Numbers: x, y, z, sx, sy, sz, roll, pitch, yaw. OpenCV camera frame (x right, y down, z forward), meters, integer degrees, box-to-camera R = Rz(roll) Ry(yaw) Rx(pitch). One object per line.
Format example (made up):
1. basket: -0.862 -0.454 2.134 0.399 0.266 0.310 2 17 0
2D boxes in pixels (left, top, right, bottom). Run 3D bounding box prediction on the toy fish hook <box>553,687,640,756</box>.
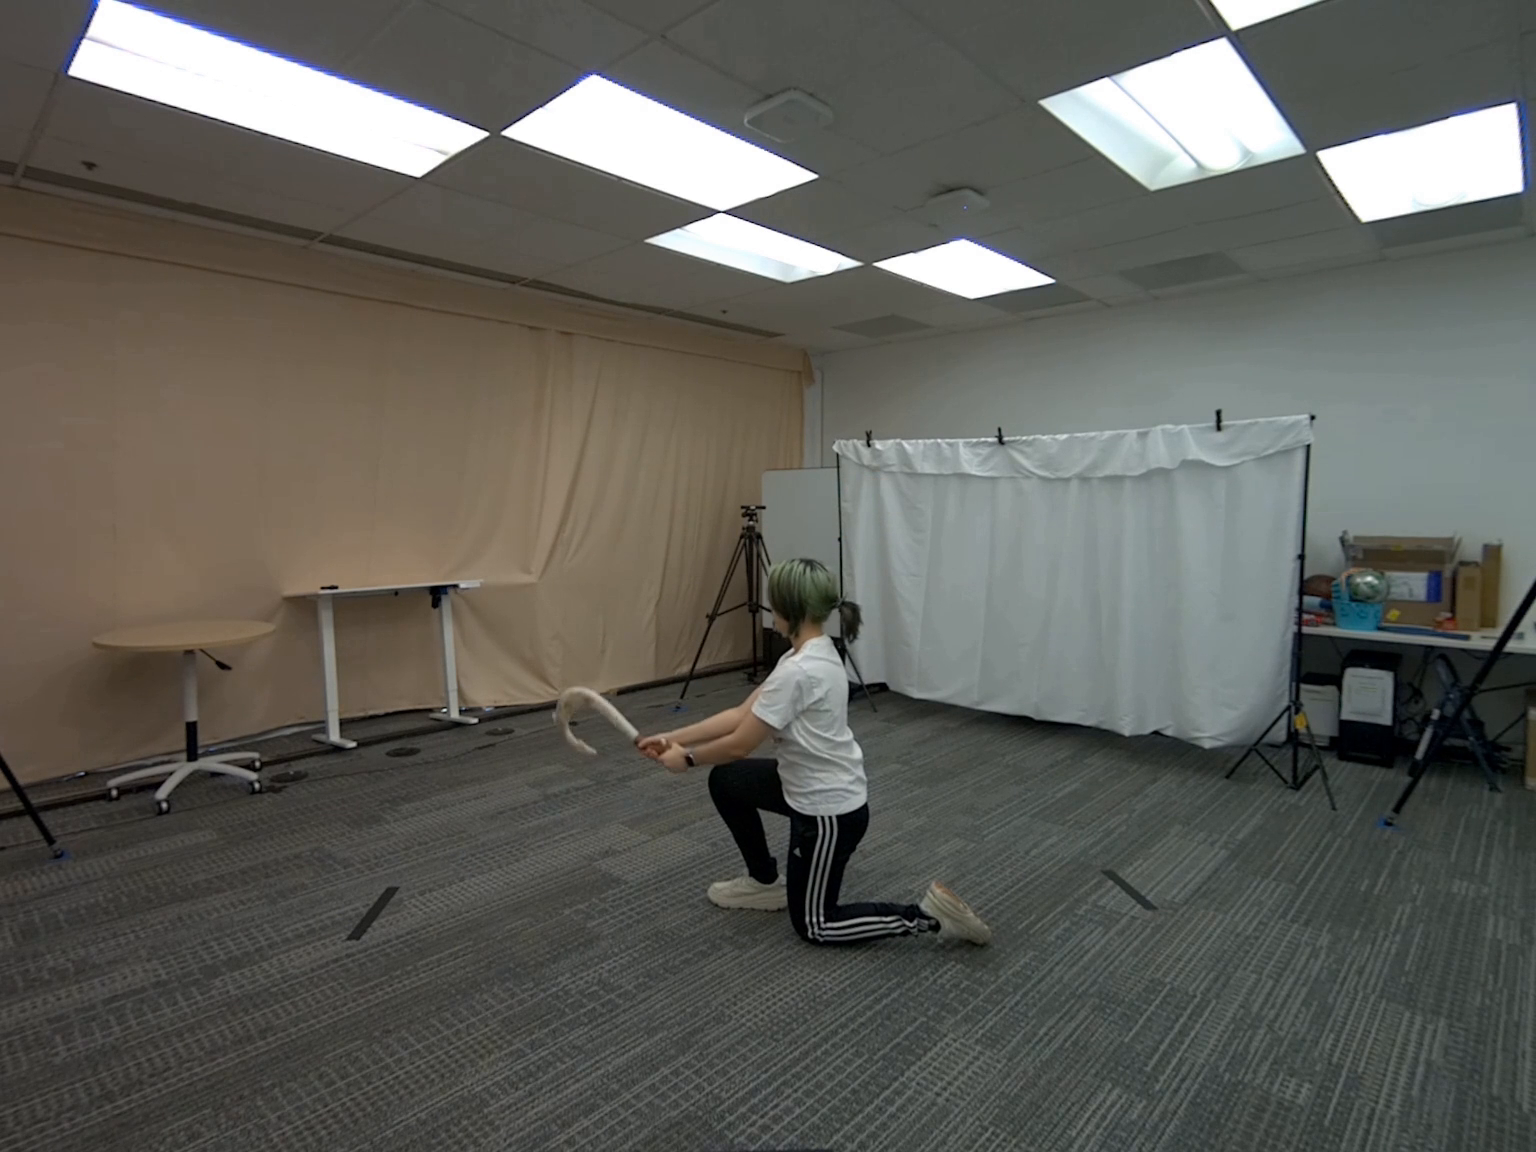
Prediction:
1. toy fish hook: -0.488 0.546 2.835 0.516 0.224 0.047 28 16 15
